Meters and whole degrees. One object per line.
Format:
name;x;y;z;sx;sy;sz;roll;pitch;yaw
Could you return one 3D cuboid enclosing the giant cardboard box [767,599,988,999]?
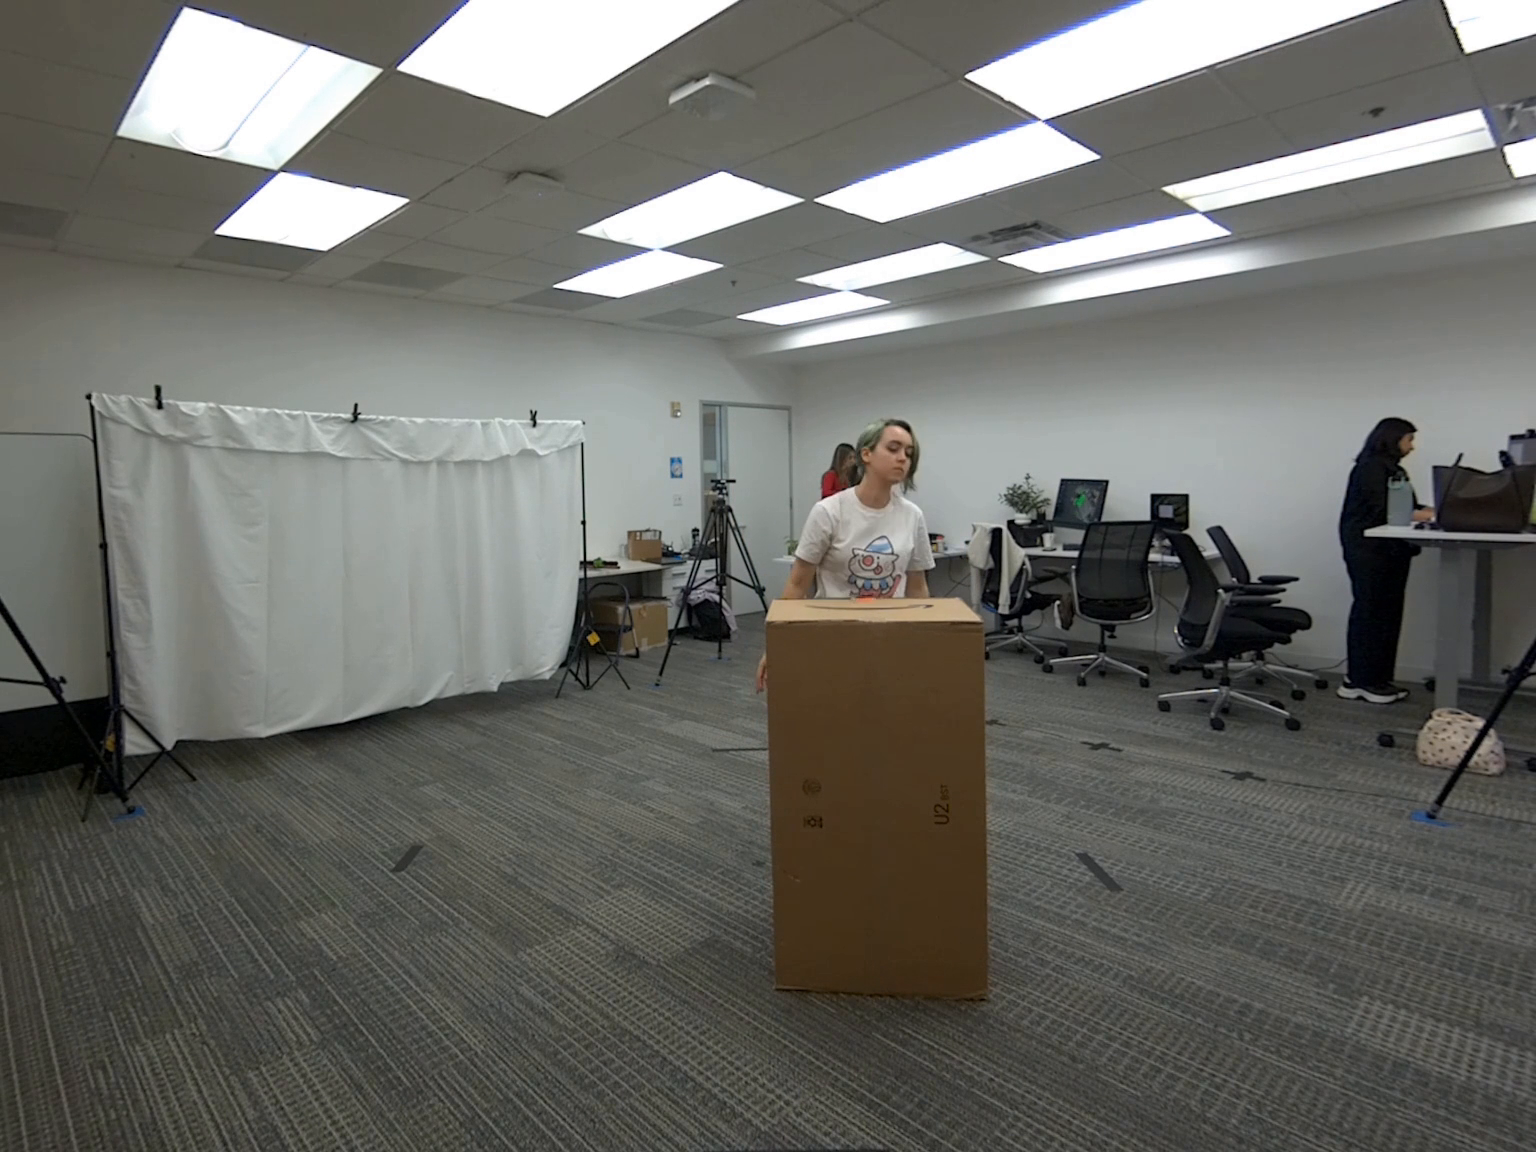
giant cardboard box;0.307;0.603;2.484;0.587;1.023;0.446;-1;4;6
